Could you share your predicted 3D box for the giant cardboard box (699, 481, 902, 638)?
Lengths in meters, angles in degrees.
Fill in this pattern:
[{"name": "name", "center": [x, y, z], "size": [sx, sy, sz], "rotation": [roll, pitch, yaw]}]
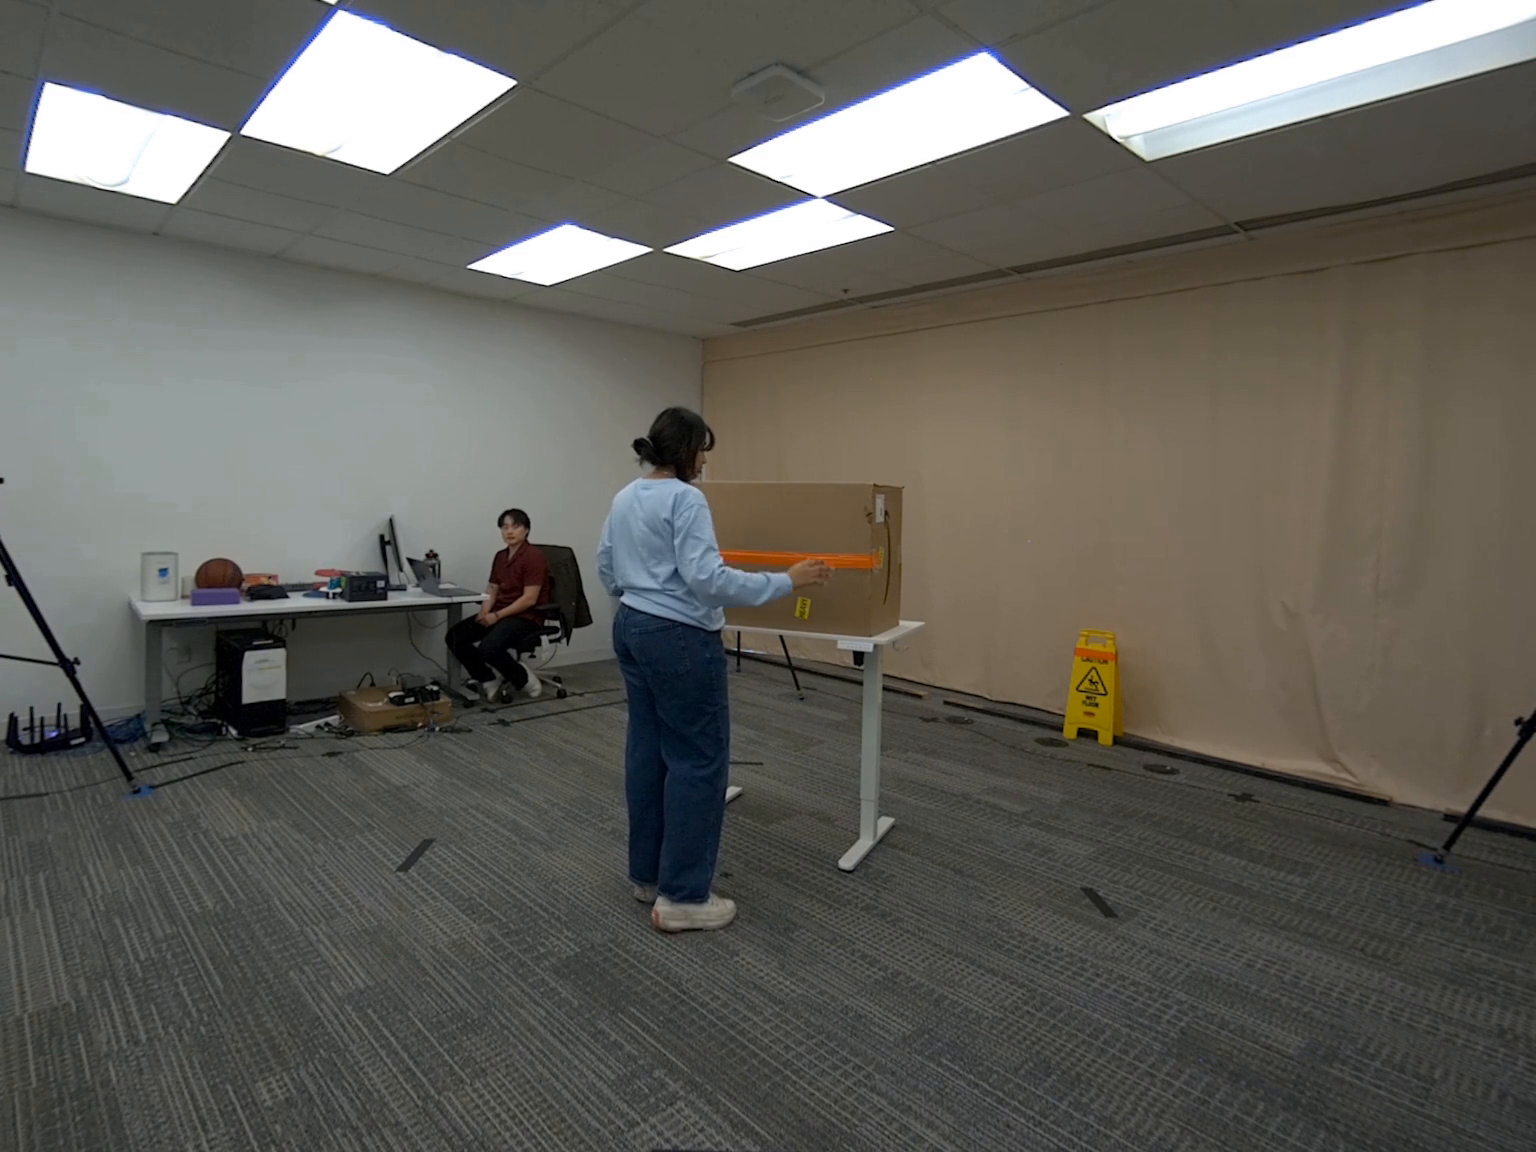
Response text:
[{"name": "giant cardboard box", "center": [0.011, -0.094, 3.514], "size": [1.047, 0.576, 0.418], "rotation": [3, 4, 27]}]
